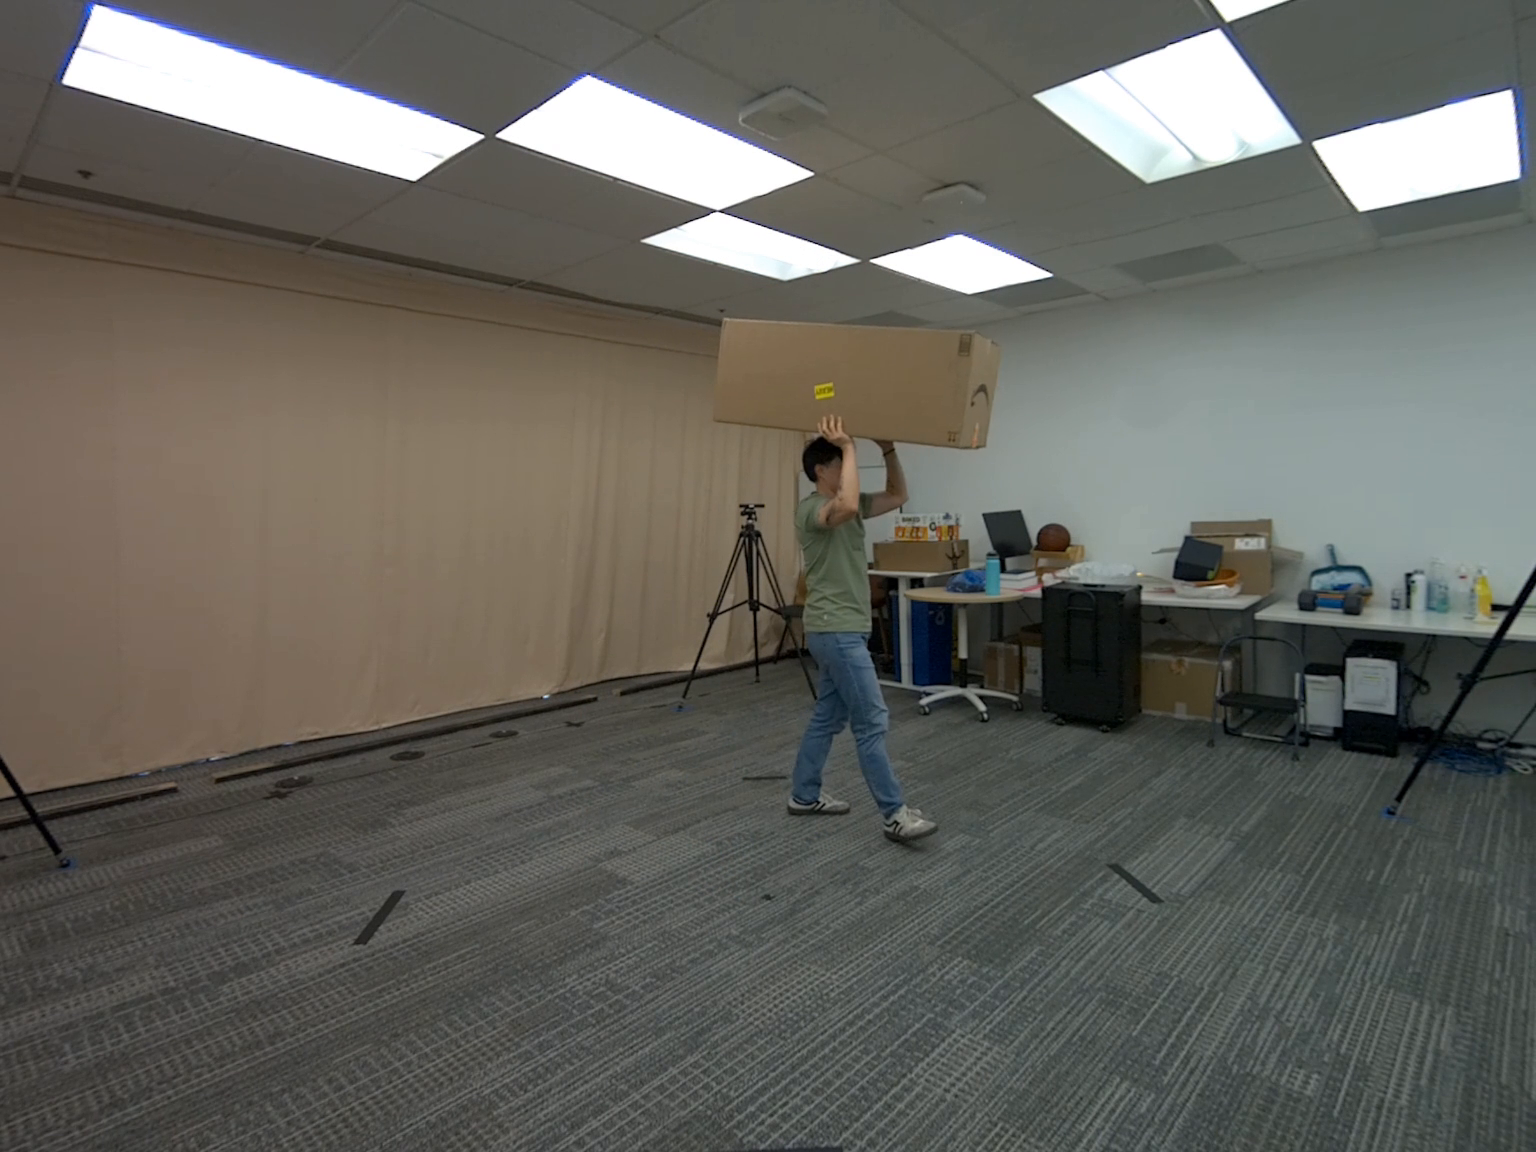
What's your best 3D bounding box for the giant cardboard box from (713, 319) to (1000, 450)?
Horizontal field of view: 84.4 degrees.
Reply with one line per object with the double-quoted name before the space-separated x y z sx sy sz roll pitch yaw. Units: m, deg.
"giant cardboard box" 0.375 -0.798 3.522 1.054 0.424 0.565 11 12 24
